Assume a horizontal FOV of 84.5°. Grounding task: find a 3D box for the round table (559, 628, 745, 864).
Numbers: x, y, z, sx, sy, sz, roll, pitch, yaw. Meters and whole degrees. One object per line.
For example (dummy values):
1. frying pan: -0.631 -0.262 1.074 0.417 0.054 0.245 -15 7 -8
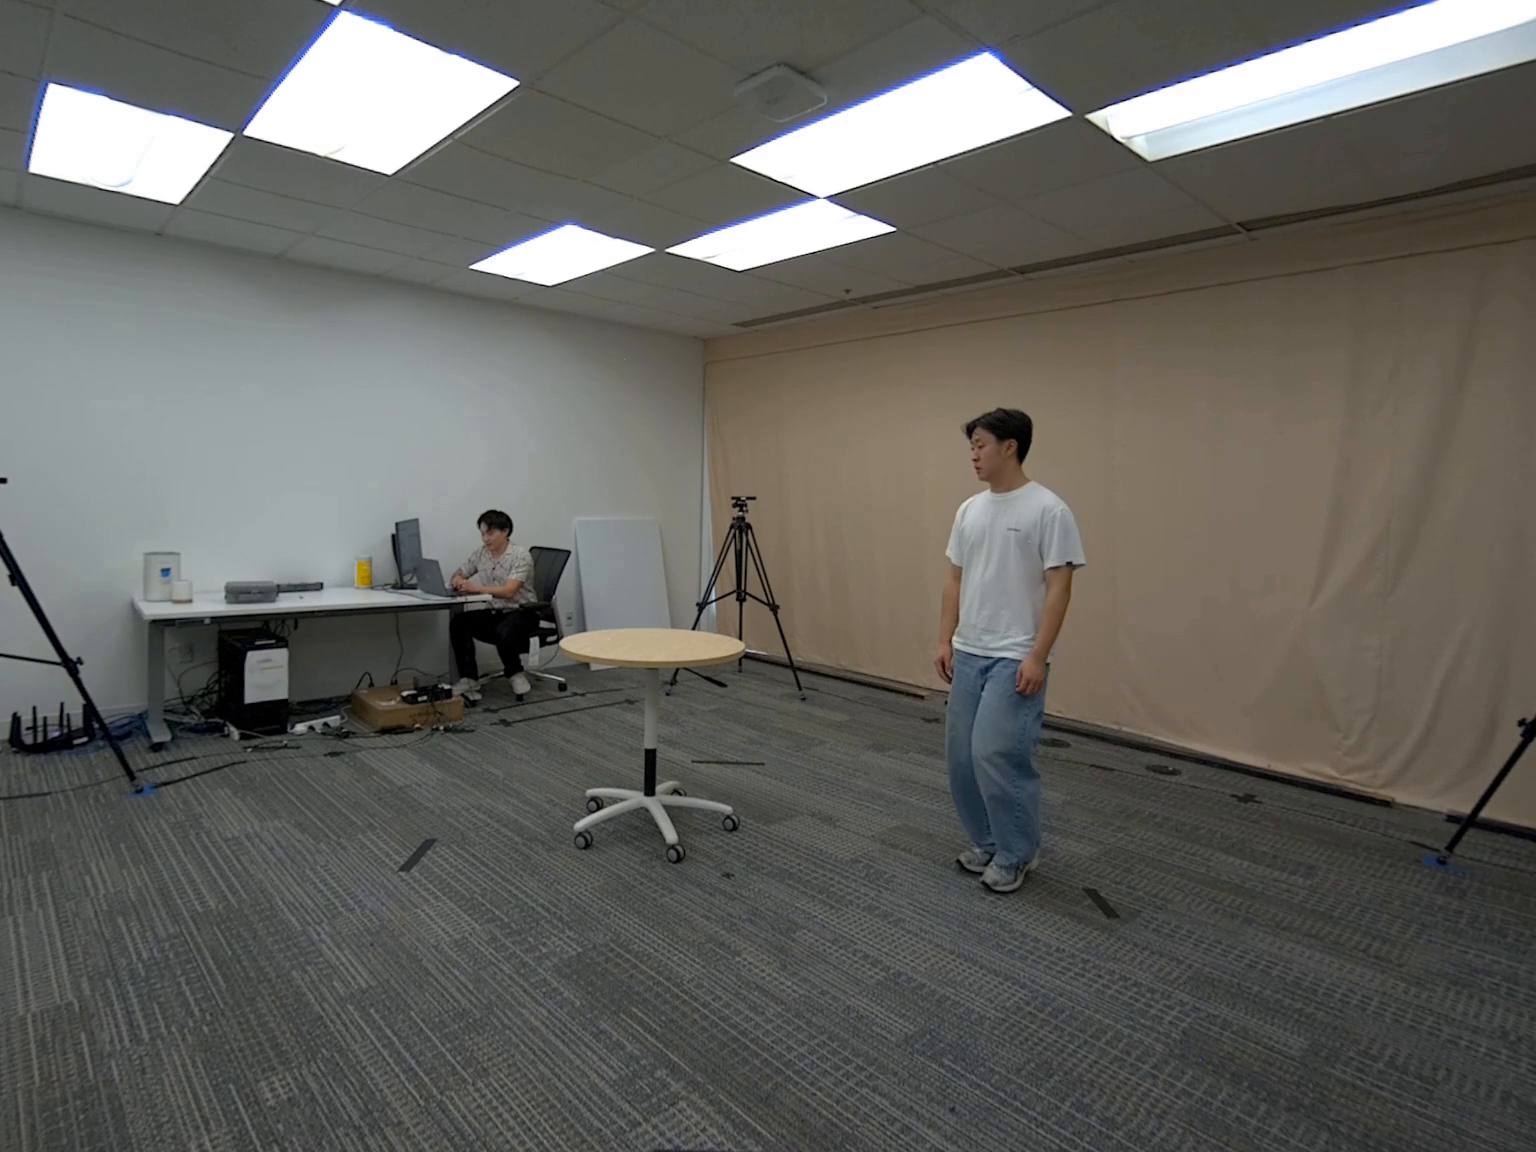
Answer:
1. round table: -0.493 0.669 3.508 0.763 0.792 0.766 1 4 -1
